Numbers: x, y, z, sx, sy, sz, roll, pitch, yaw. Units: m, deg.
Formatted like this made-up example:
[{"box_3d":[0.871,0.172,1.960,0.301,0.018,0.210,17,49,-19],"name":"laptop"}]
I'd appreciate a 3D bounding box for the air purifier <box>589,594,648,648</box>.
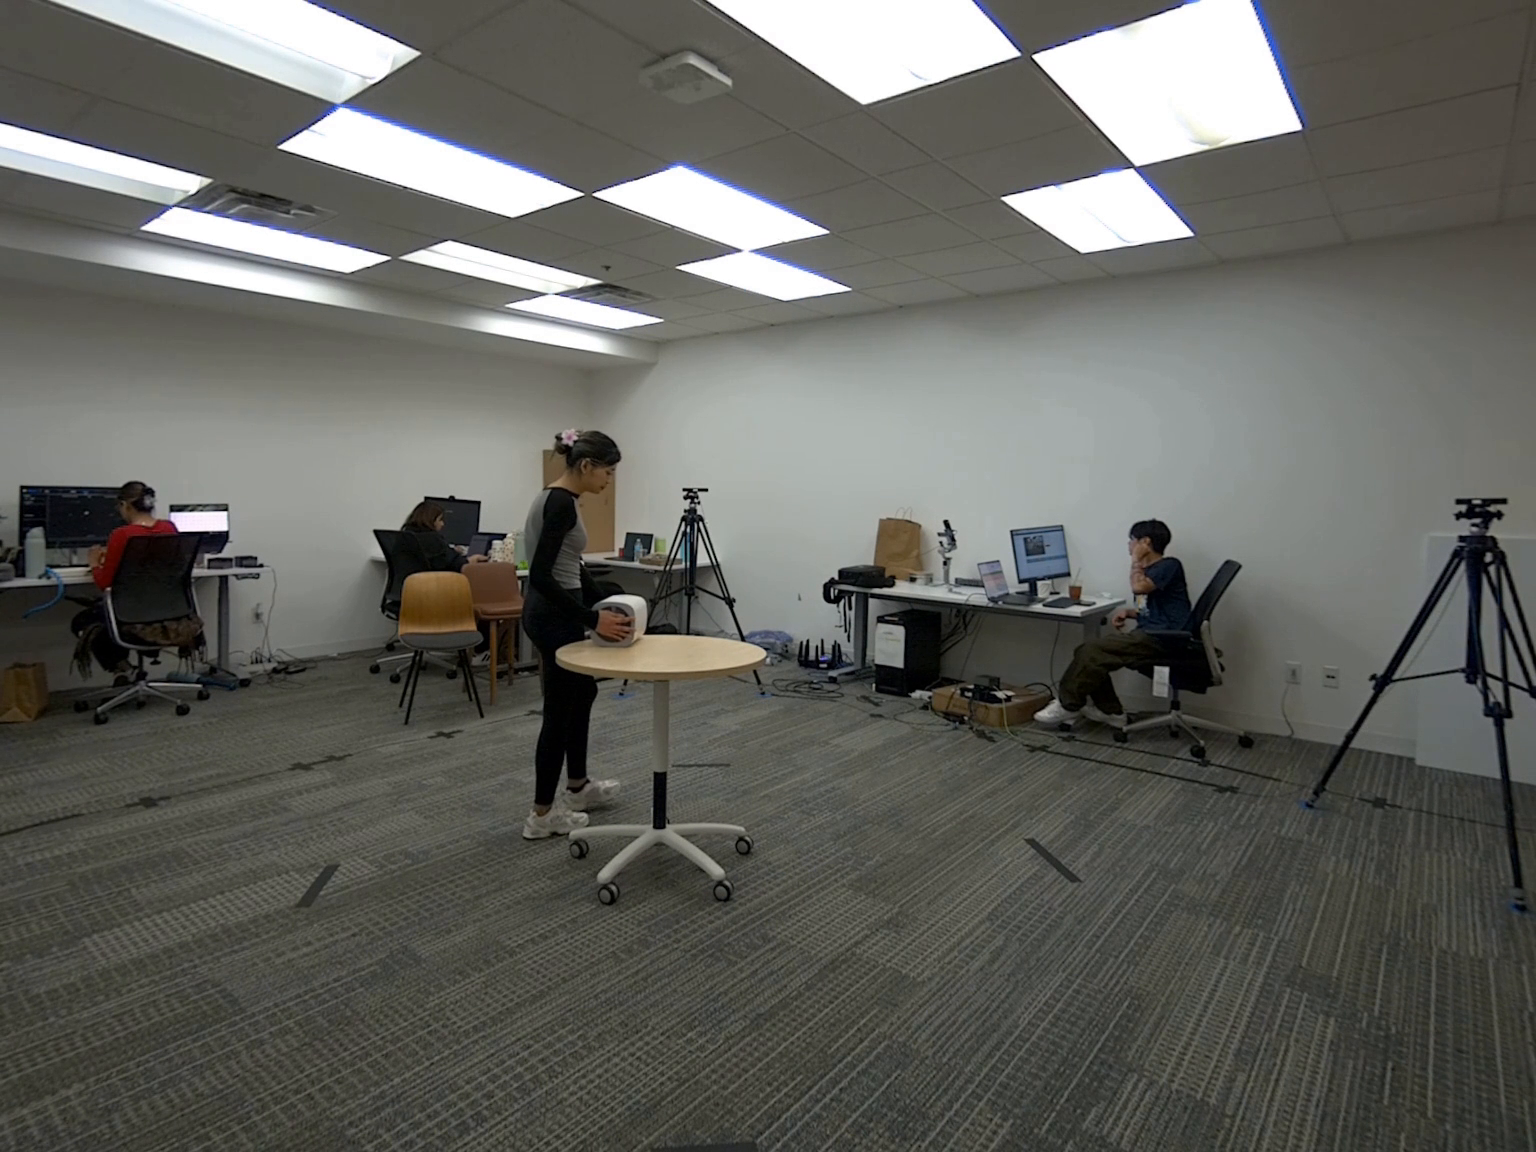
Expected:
[{"box_3d":[-0.587,0.168,3.304,0.172,0.171,0.265,0,4,3],"name":"air purifier"}]
